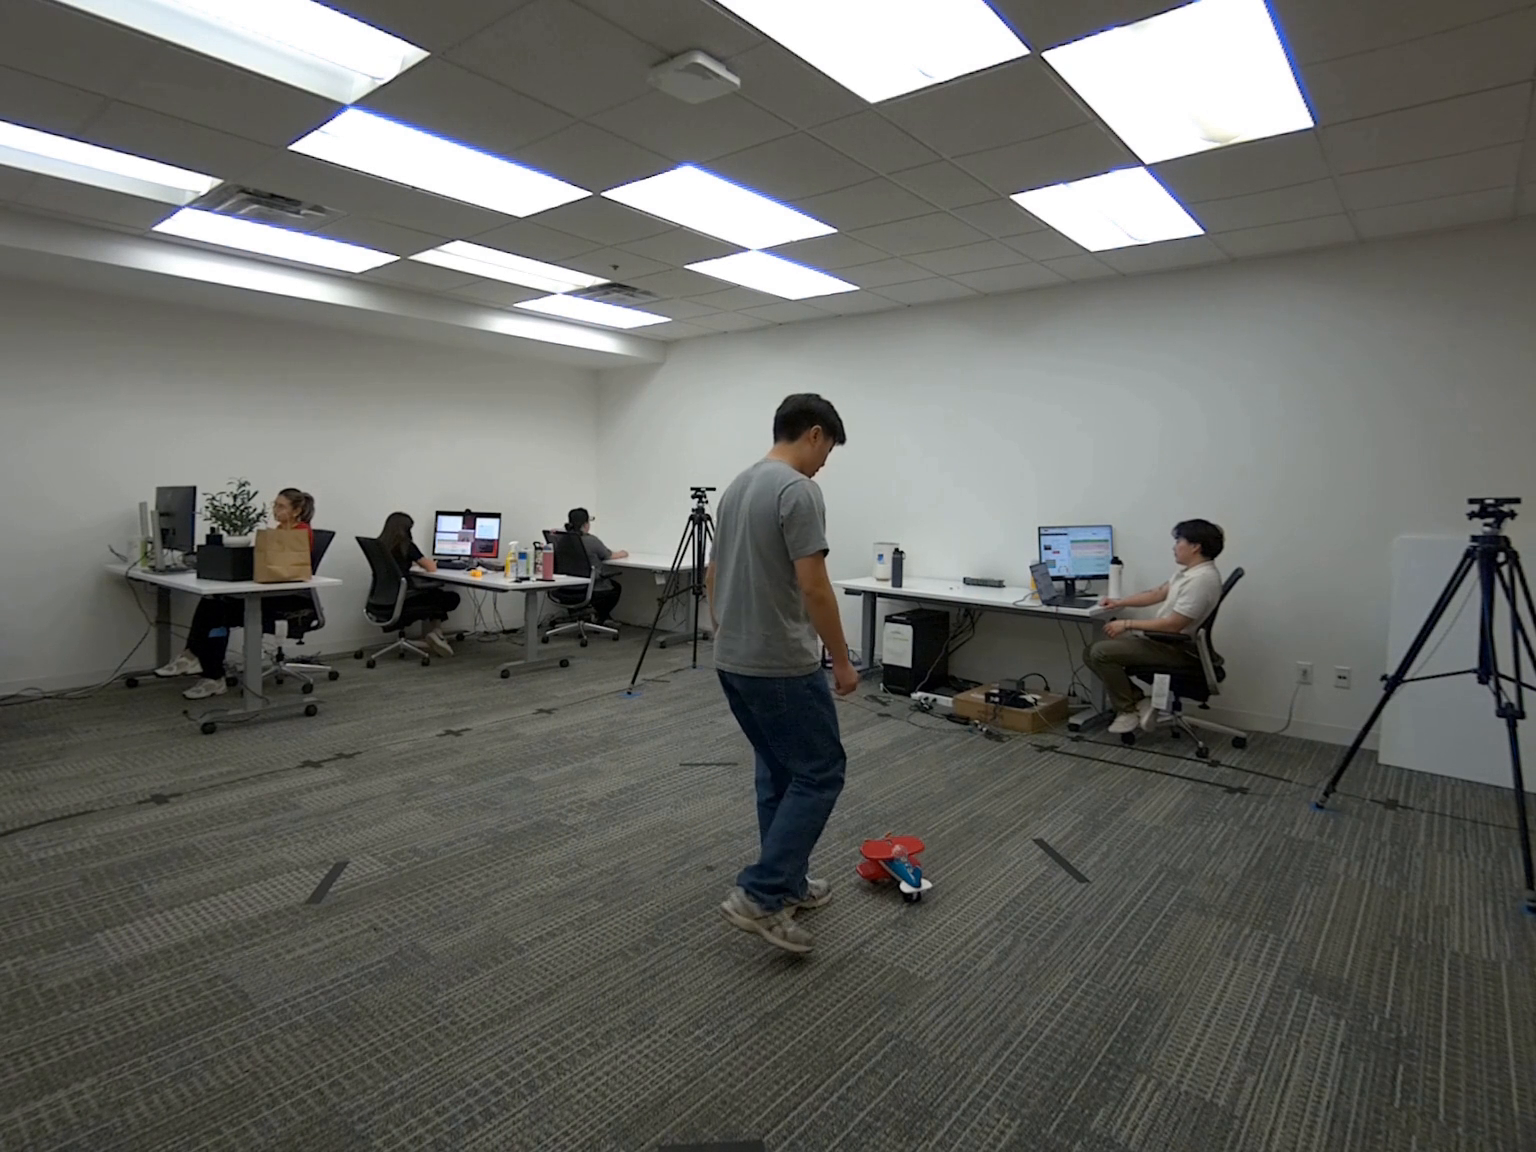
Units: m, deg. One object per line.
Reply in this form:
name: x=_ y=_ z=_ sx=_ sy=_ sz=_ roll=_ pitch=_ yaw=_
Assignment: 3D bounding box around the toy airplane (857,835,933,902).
toy airplane: x=0.463 y=1.022 z=2.987 sx=0.267 sy=0.156 sz=0.244 roll=4 pitch=6 yaw=36
